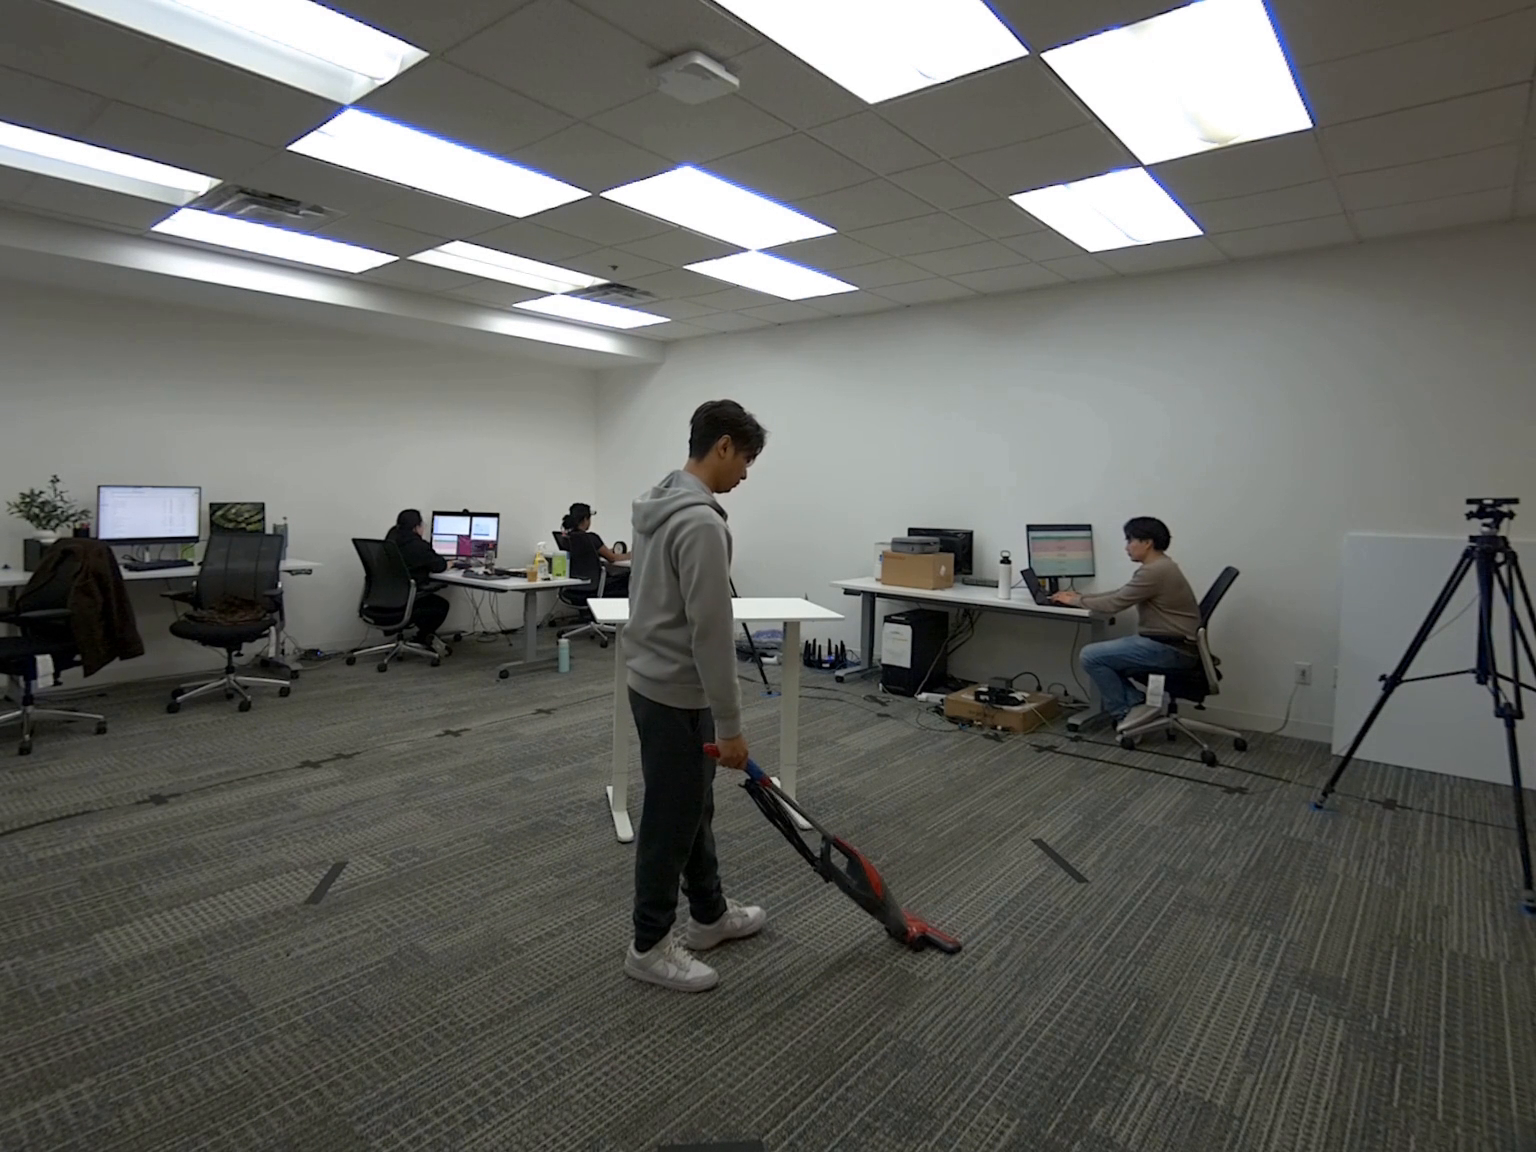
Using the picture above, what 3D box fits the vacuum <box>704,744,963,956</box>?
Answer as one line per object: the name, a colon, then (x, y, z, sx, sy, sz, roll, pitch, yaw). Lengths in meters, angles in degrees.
vacuum: (0.165, 0.796, 2.434, 1.012, 0.144, 0.261, 47, -20, -29)
